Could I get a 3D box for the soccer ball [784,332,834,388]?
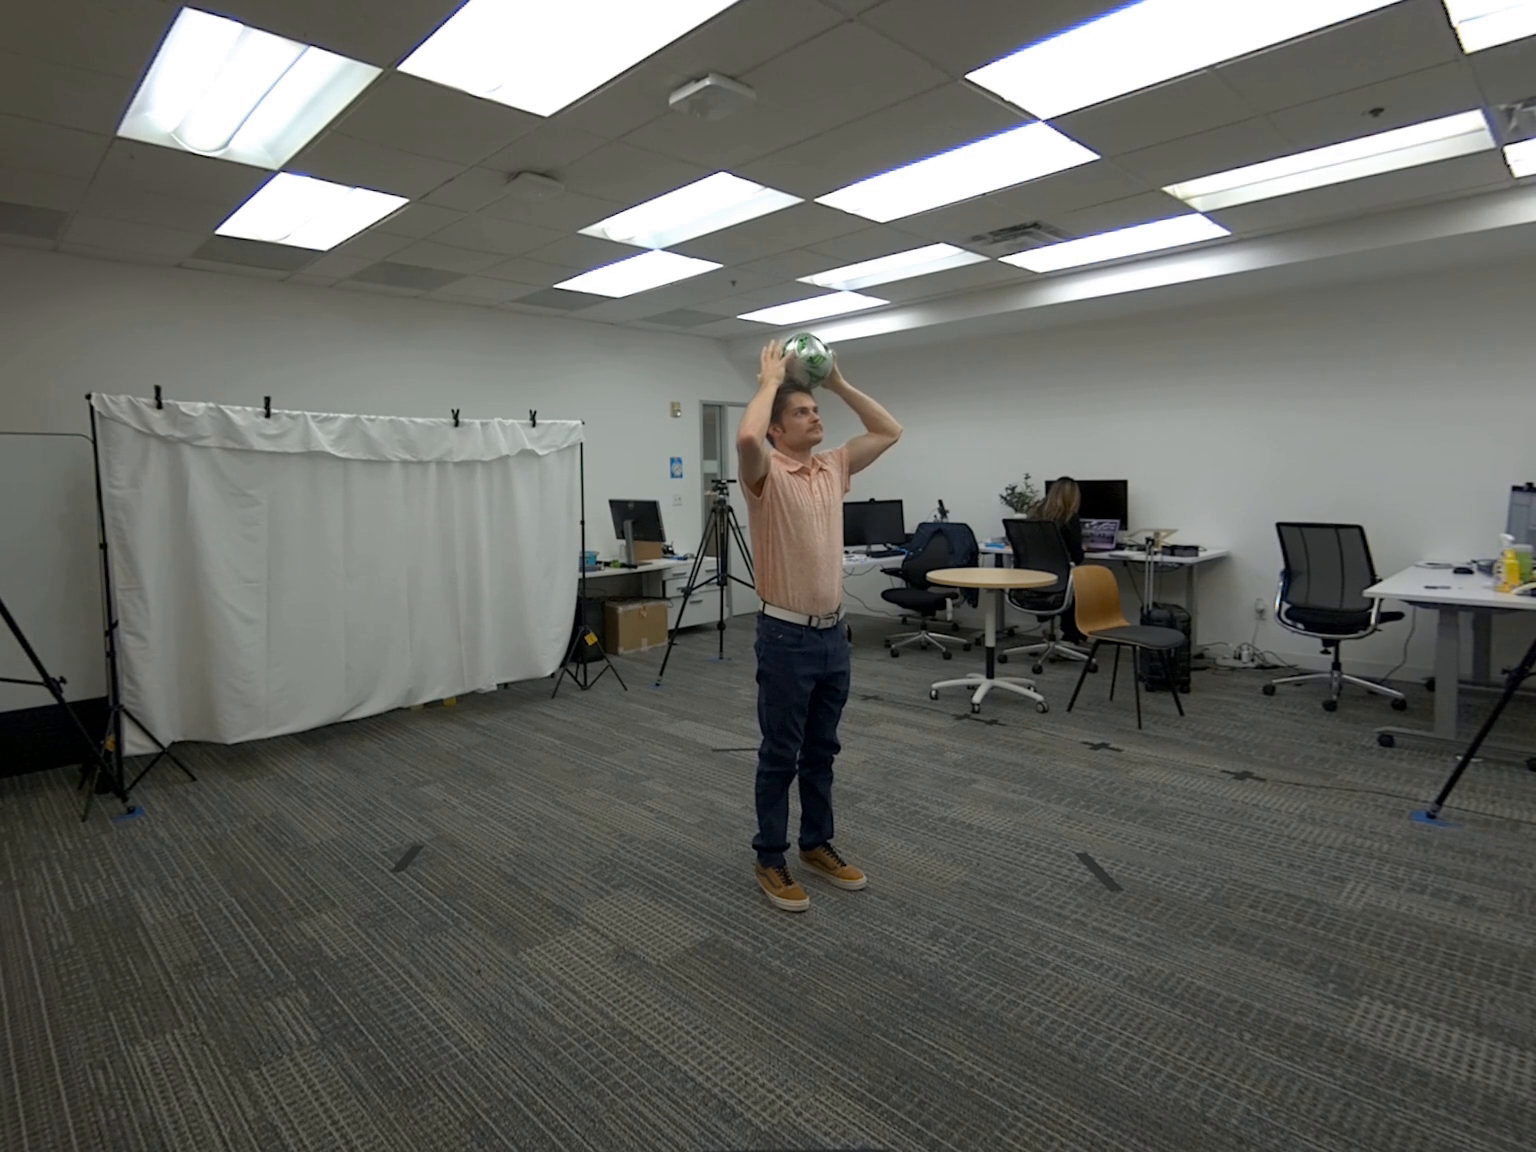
[{"bbox_3d":[0.123,-0.715,2.844,0.187,0.187,0.188,-1,5,-2],"label":"soccer ball"}]
